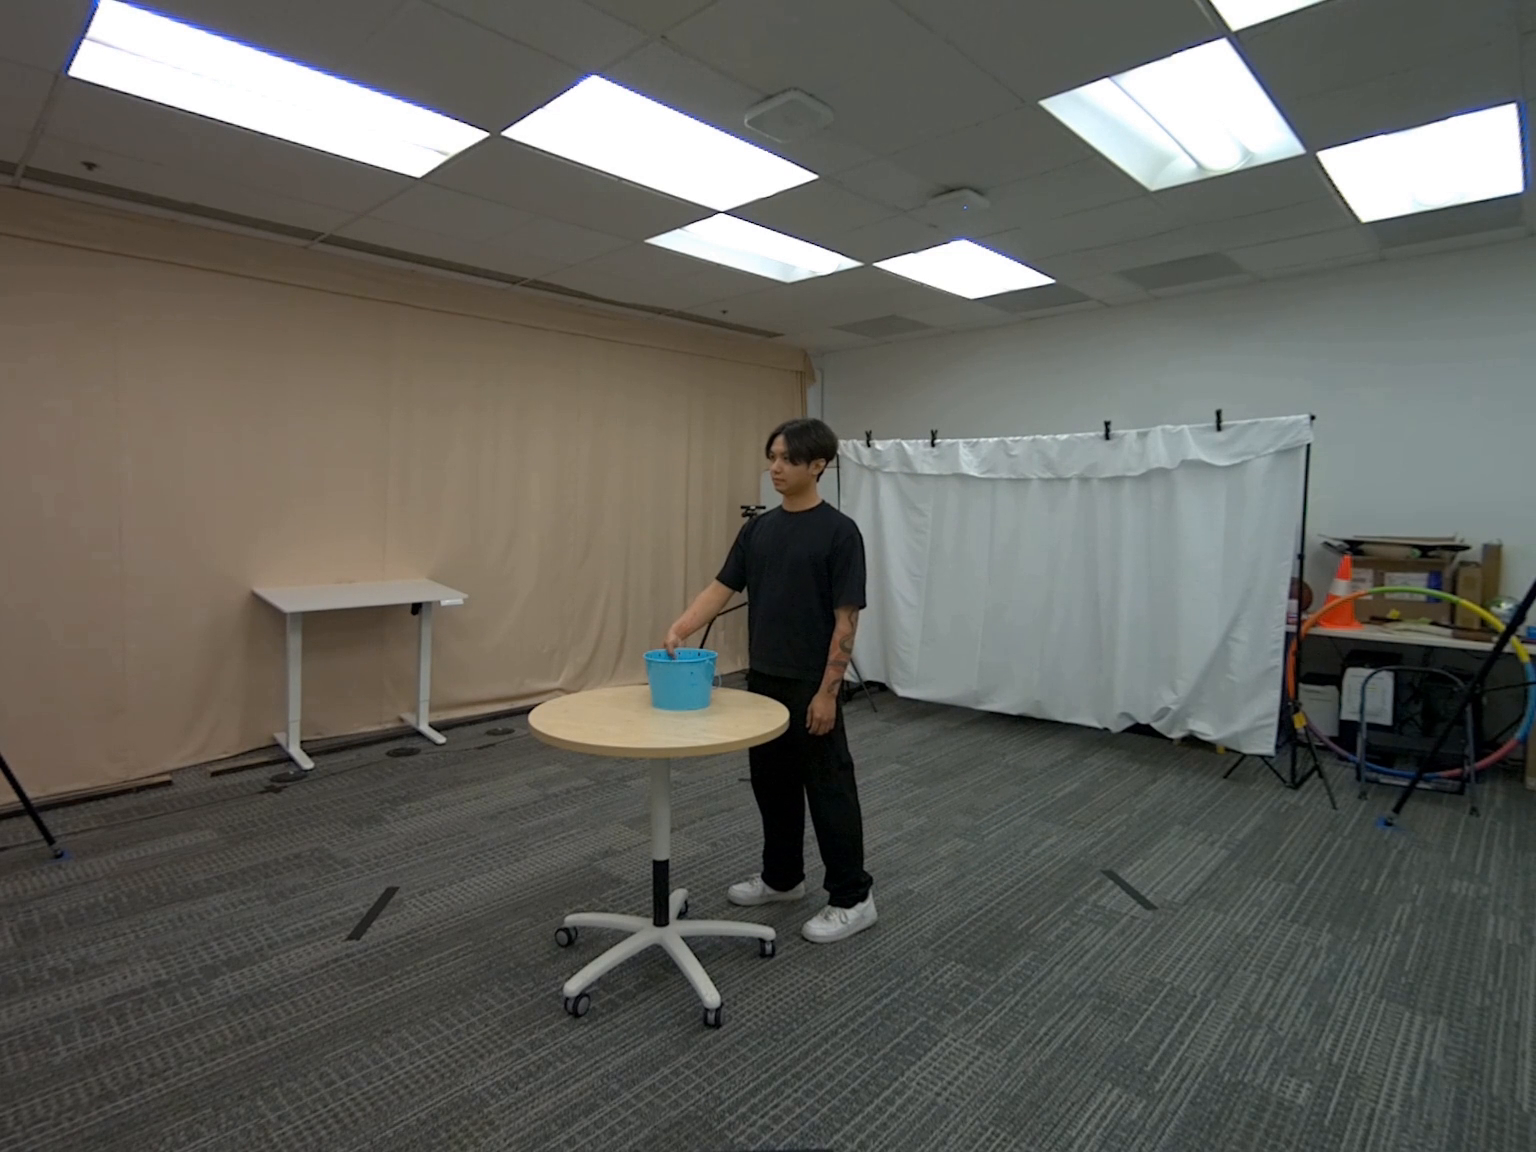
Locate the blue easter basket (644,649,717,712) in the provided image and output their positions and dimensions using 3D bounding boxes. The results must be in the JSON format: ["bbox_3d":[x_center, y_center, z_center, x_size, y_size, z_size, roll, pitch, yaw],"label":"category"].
[{"bbox_3d":[-0.262,0.322,2.587,0.243,0.155,0.244,-1,4,-2],"label":"blue easter basket"}]
